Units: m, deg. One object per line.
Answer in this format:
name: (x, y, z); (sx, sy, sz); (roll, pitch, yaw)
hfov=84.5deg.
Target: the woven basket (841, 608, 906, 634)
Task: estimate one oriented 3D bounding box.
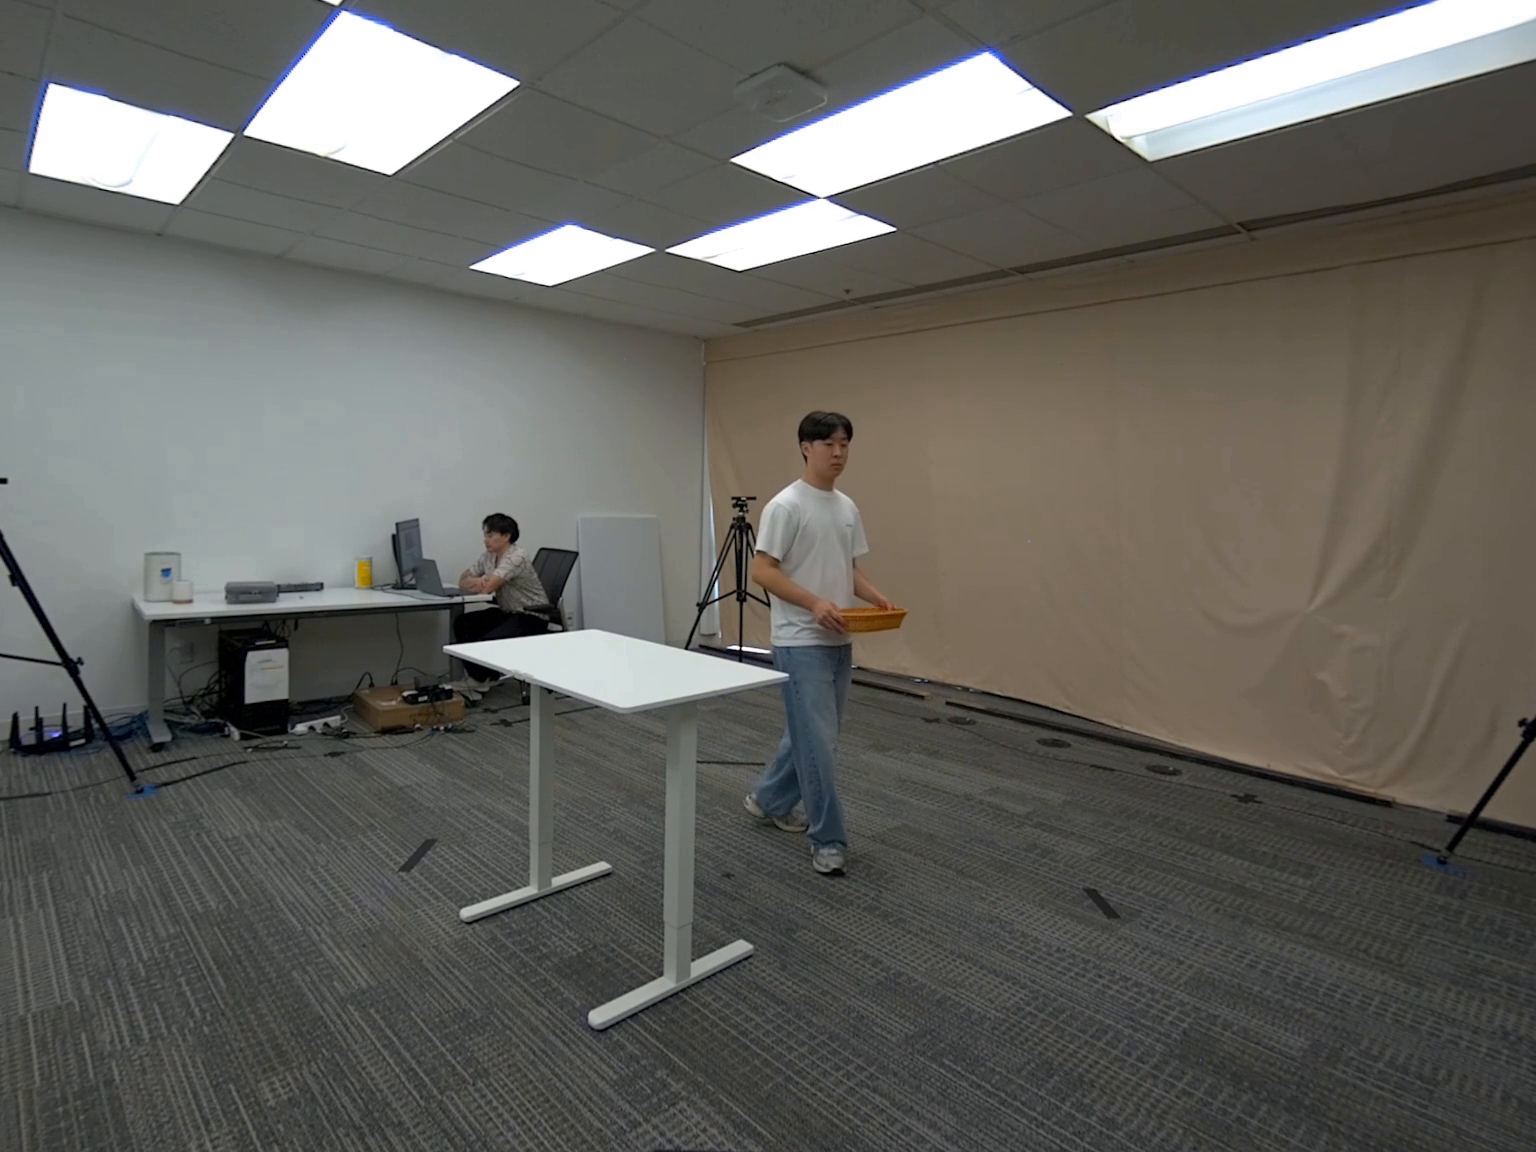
woven basket: (0.332, 0.160, 3.186); (0.344, 0.073, 0.257); (-3, 4, -27)
